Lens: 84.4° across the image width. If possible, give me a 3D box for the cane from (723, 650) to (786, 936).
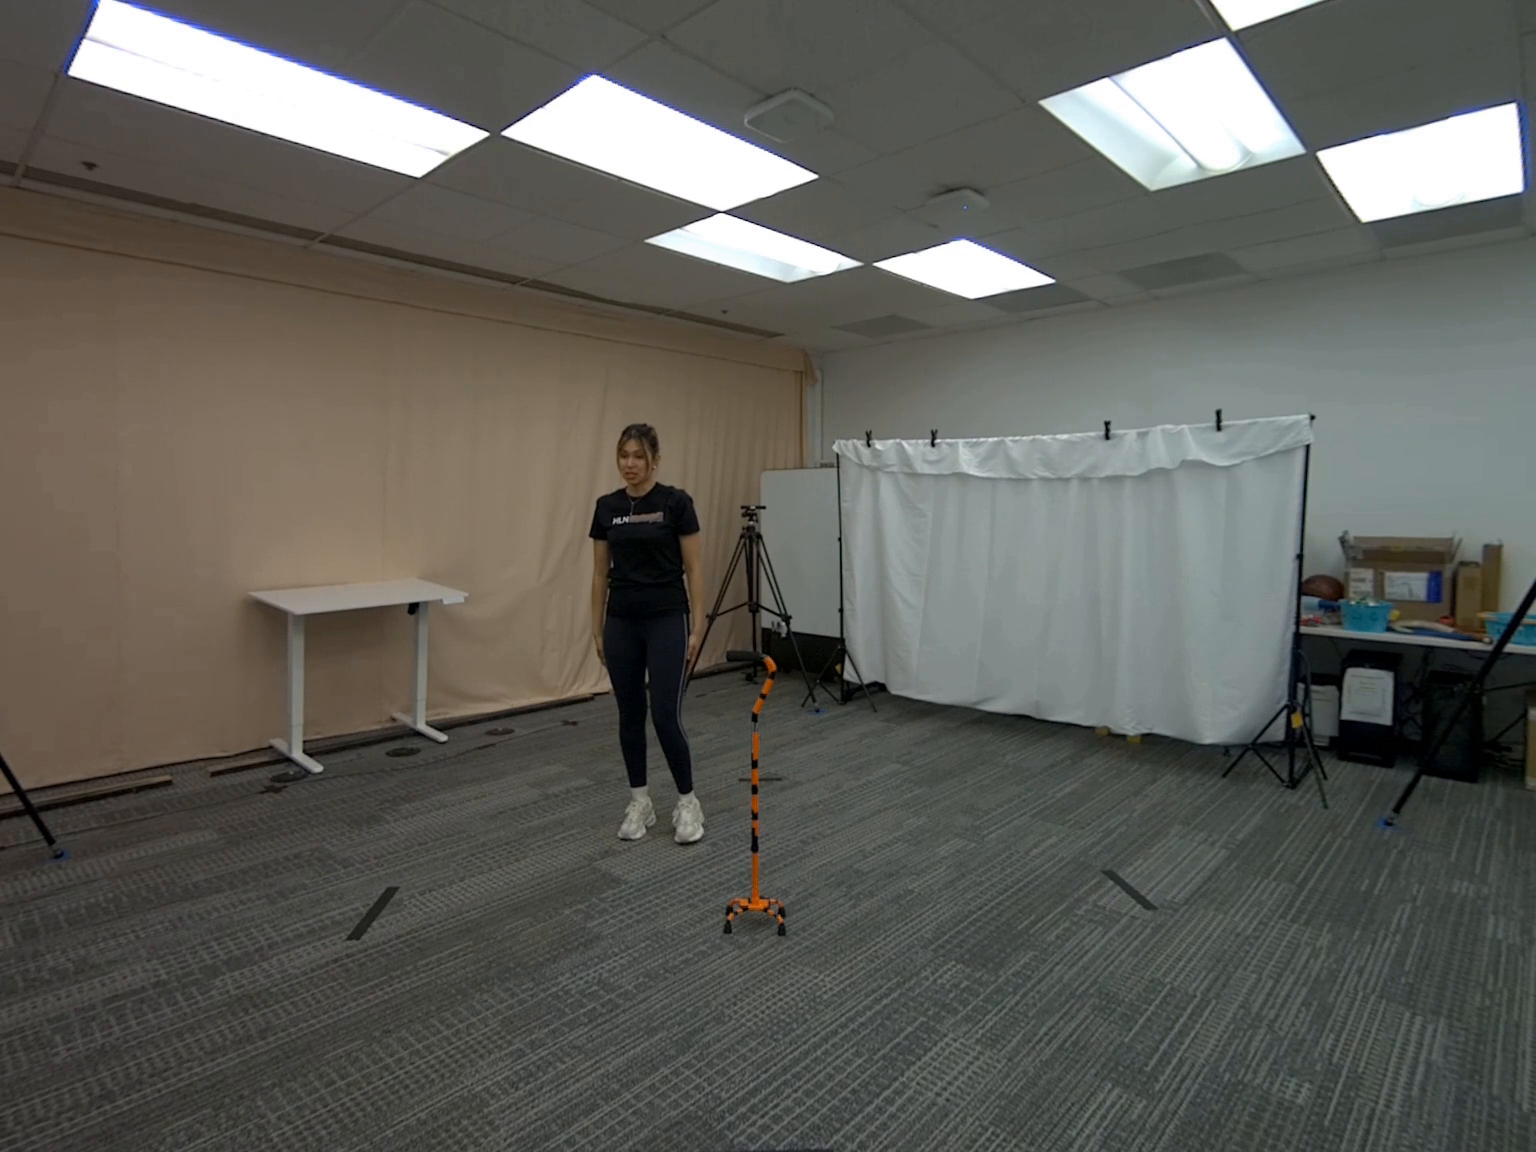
[{"bbox_3d":[-0.041,0.710,2.782,0.207,0.906,0.151,0,3,2],"label":"cane"}]
